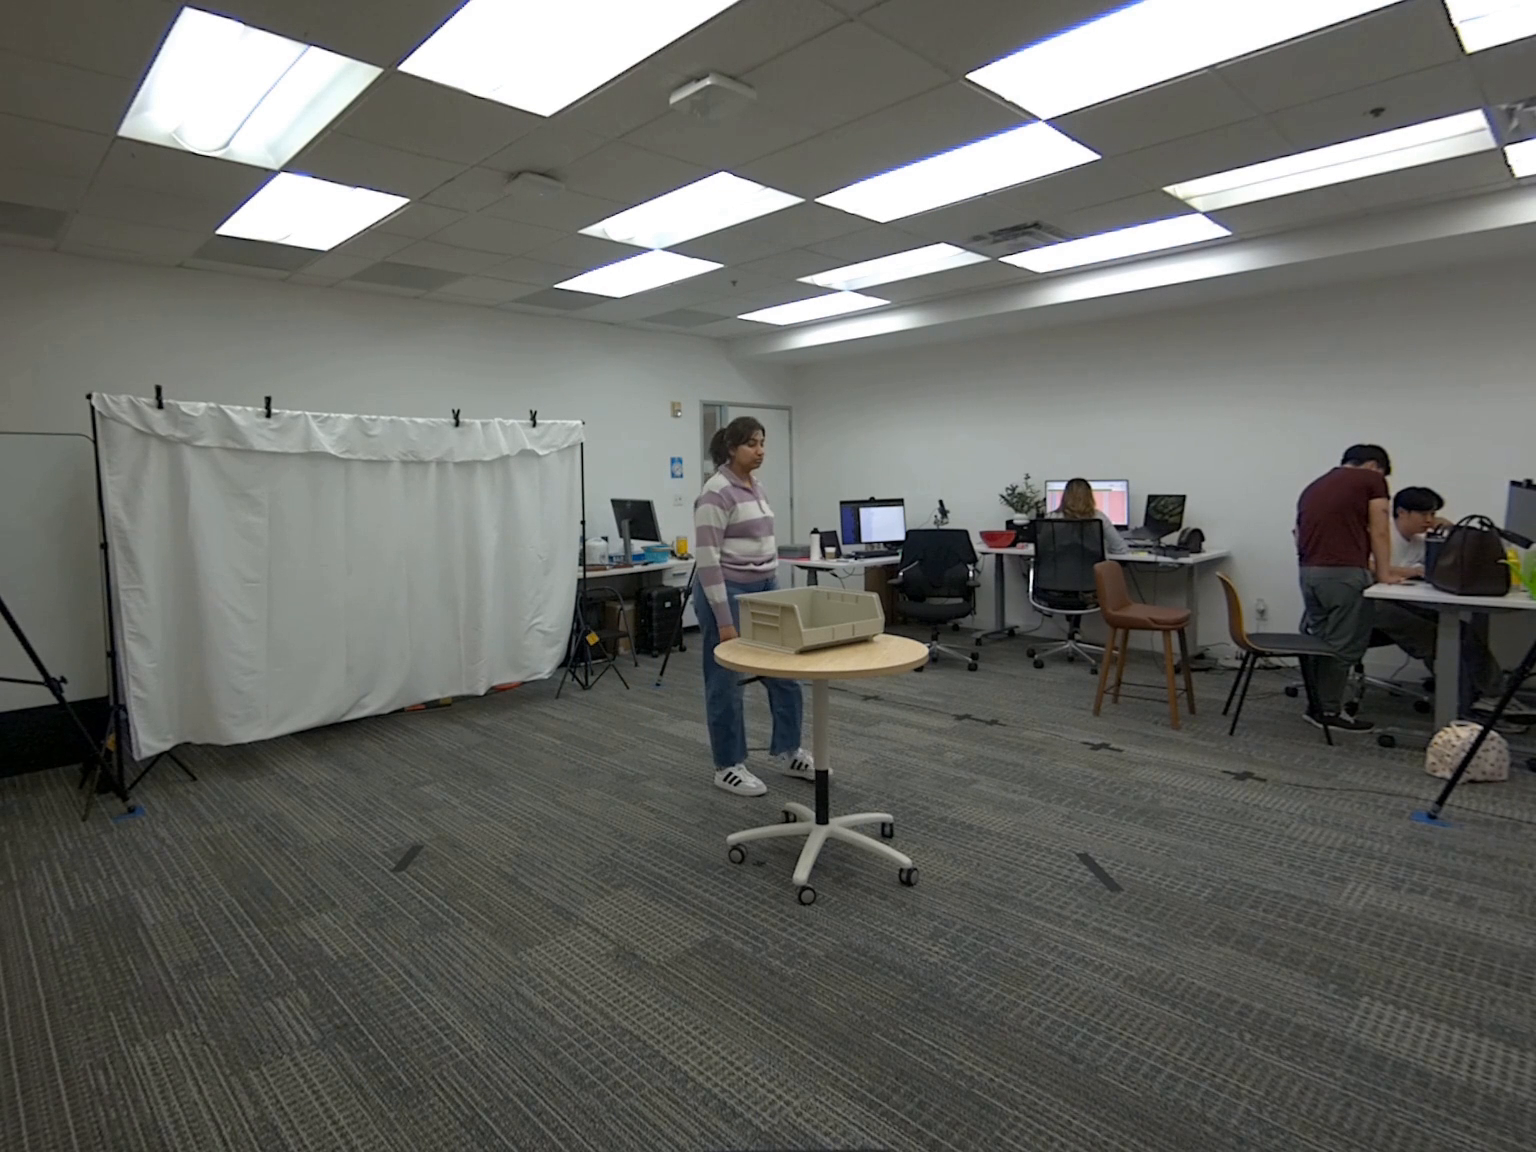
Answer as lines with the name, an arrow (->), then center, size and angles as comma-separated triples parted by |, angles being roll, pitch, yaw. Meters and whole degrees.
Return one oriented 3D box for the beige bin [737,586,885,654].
beige bin -> 0.153, 0.163, 3.205 | 0.411, 0.188, 0.388 | -6, 6, -39
